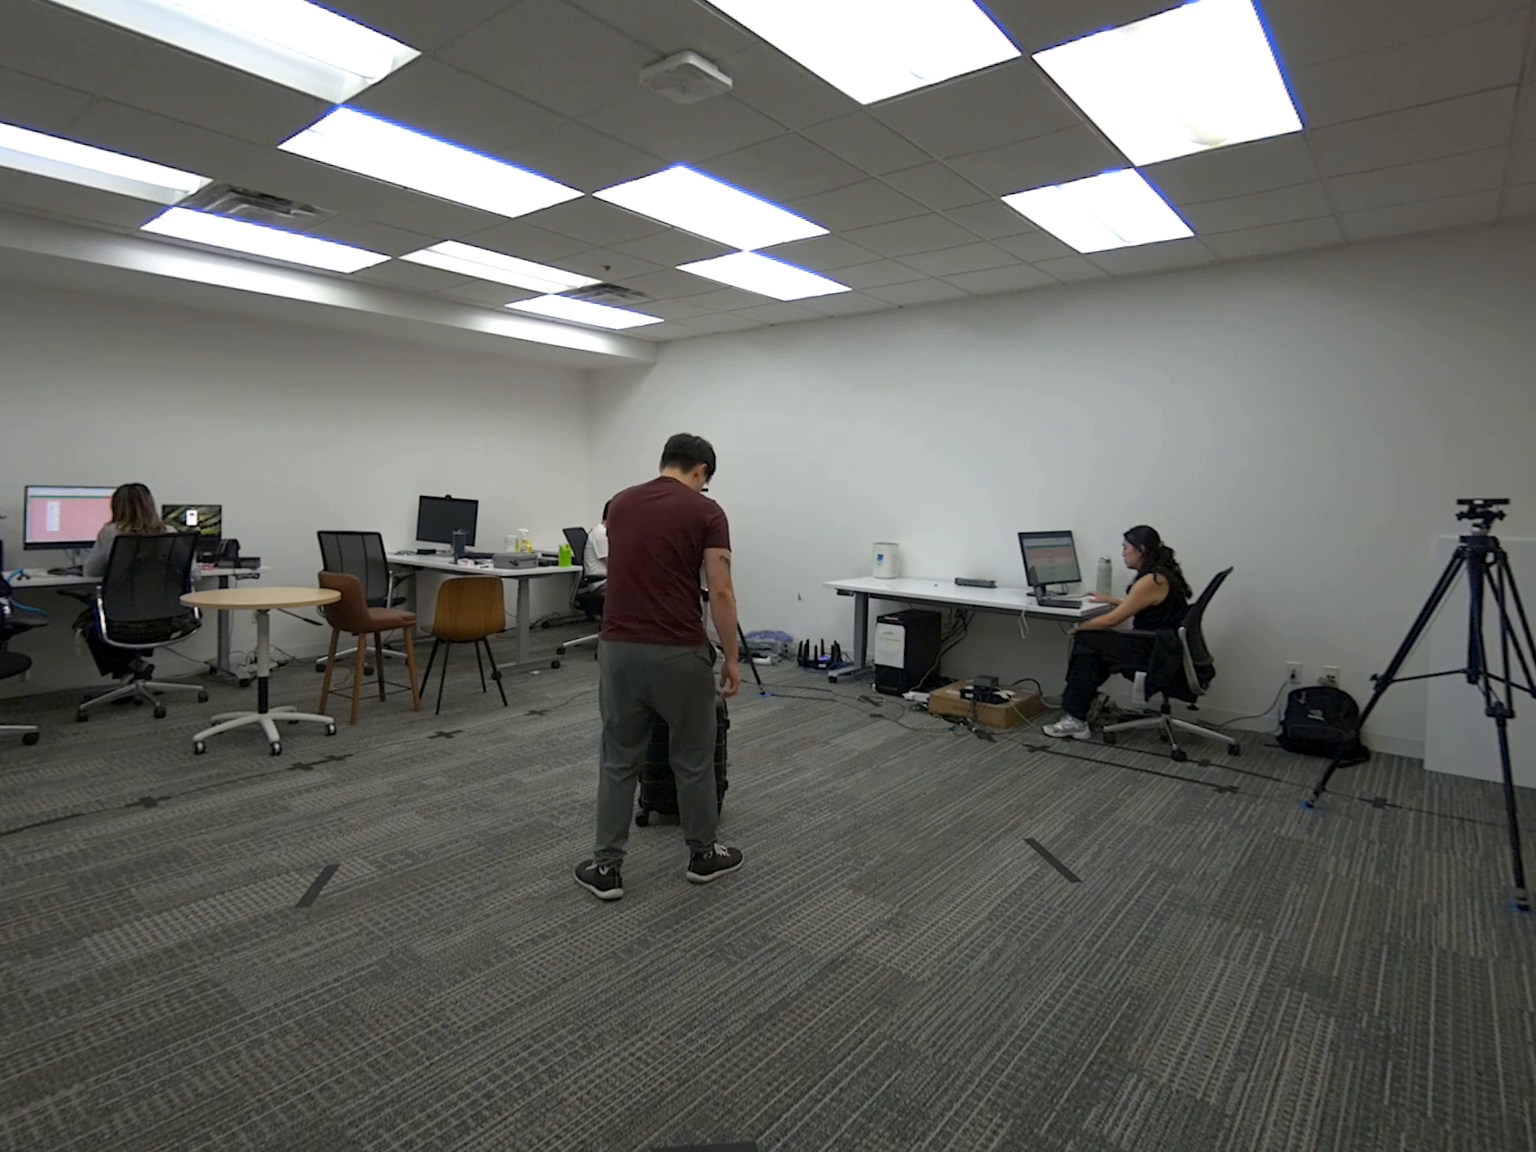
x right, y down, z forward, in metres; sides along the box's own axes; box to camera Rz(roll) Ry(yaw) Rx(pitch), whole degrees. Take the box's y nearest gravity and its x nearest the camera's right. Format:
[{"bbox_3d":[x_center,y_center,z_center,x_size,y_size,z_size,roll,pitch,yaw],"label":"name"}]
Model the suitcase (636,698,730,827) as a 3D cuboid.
[{"bbox_3d":[-0.361,0.544,3.602,0.383,0.978,0.258,2,1,-4],"label":"suitcase"}]
